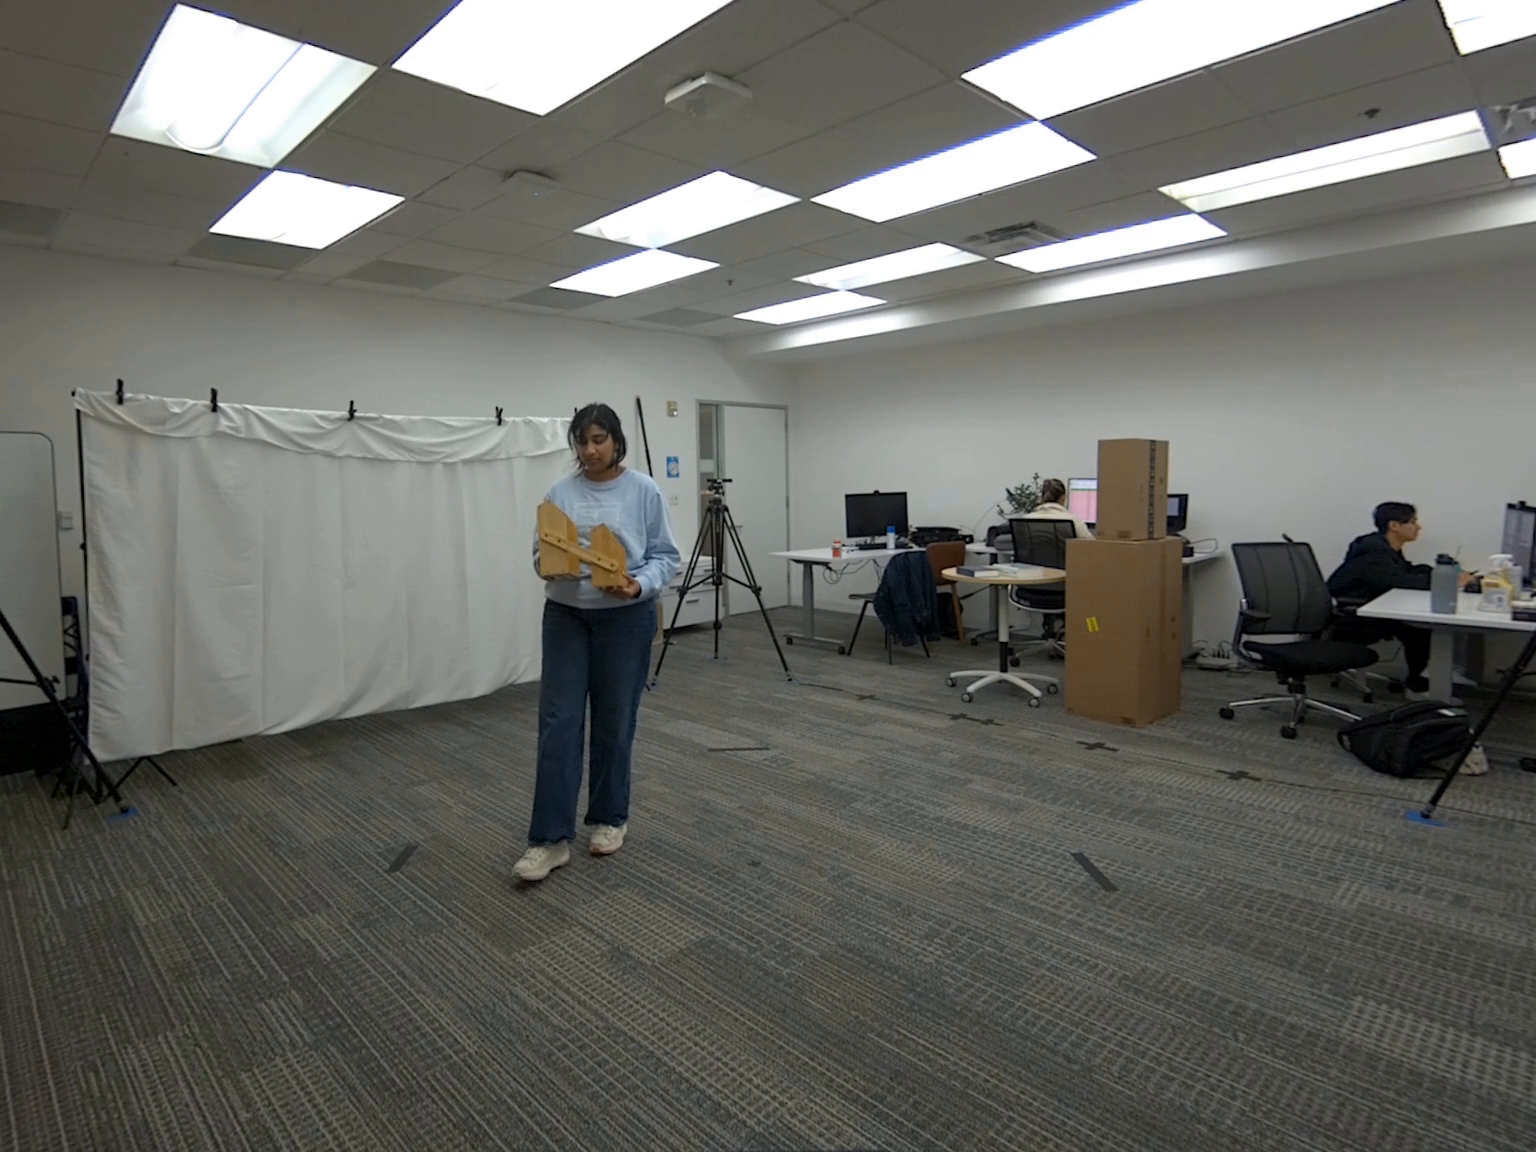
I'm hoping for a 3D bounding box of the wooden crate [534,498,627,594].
[{"bbox_3d":[-0.633,-0.100,2.966,0.273,0.304,0.323,-3,-5,-2],"label":"wooden crate"}]
